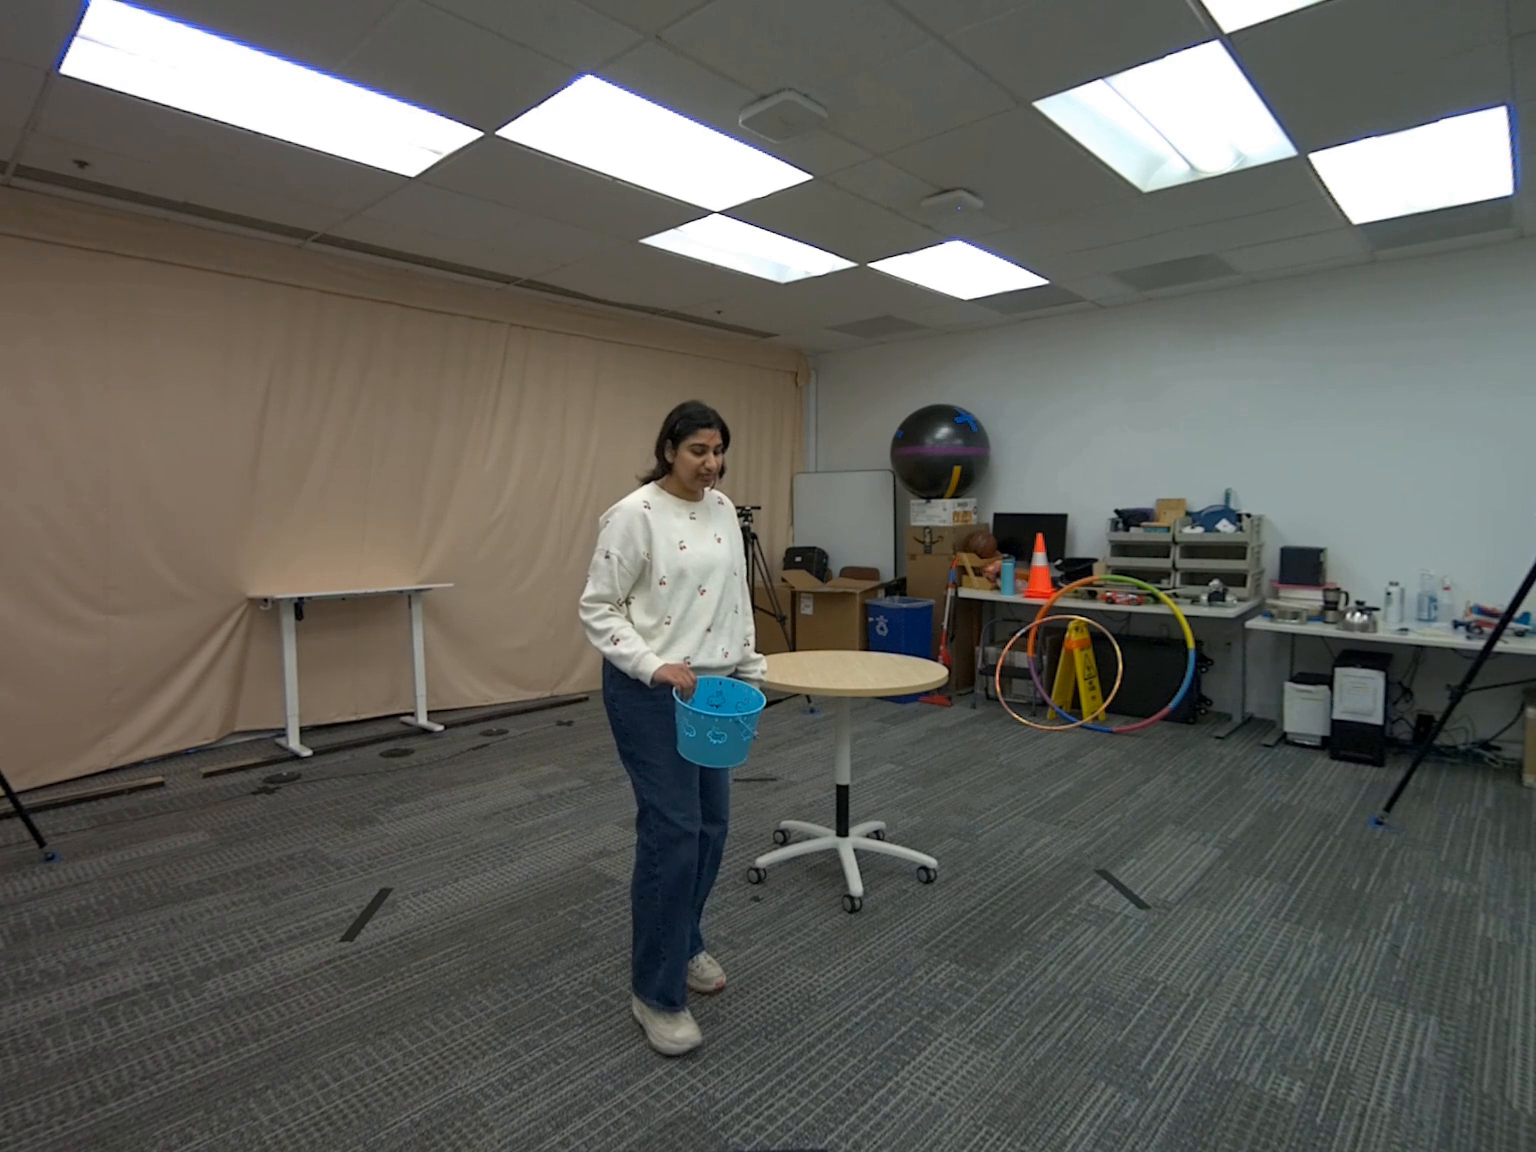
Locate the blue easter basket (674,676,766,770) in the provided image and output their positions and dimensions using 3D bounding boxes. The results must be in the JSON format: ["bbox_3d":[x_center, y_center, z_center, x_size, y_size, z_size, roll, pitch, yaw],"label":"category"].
[{"bbox_3d":[-0.121,0.372,2.114,0.243,0.154,0.246,4,16,-3],"label":"blue easter basket"}]
